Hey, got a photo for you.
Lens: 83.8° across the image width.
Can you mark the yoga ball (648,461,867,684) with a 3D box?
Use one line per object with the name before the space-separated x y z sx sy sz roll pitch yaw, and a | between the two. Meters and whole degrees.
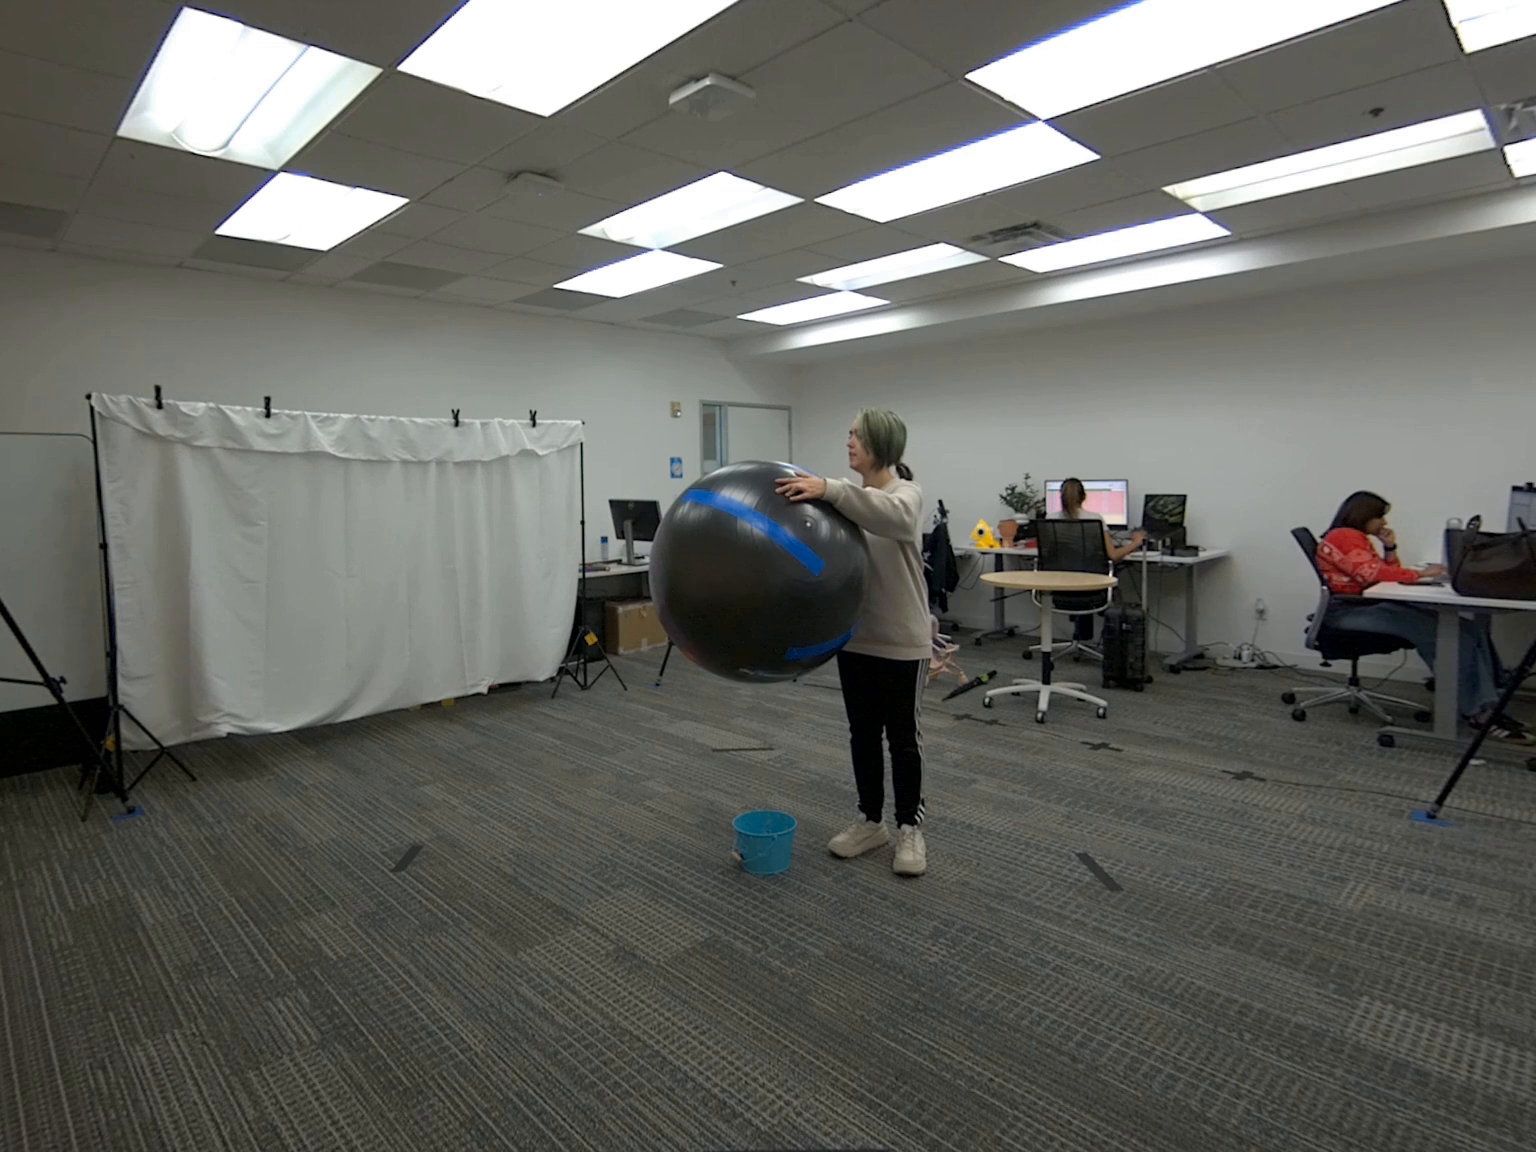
yoga ball | -0.024 -0.006 2.912 0.757 0.755 0.762 -1 5 -2
